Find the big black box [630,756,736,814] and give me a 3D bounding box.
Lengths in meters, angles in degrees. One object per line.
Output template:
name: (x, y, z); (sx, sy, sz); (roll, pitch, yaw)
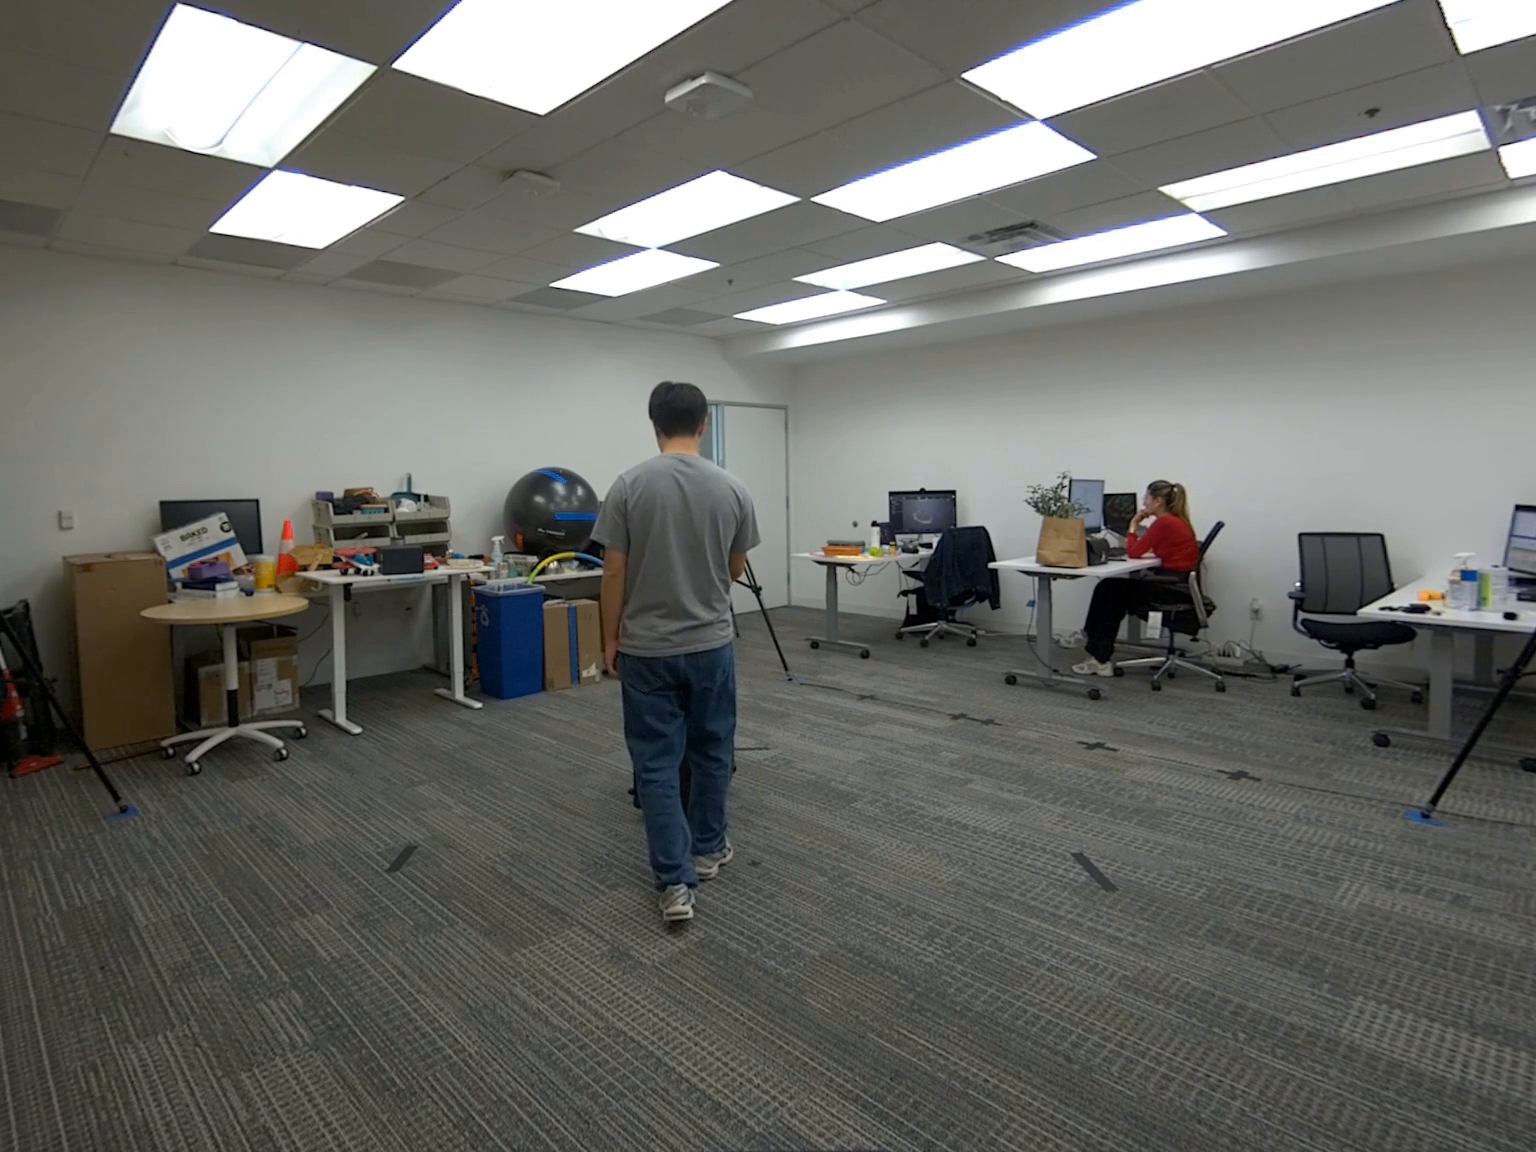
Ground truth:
big black box: (-0.362, 0.561, 3.665); (0.399, 0.859, 0.519); (-1, 4, 7)
